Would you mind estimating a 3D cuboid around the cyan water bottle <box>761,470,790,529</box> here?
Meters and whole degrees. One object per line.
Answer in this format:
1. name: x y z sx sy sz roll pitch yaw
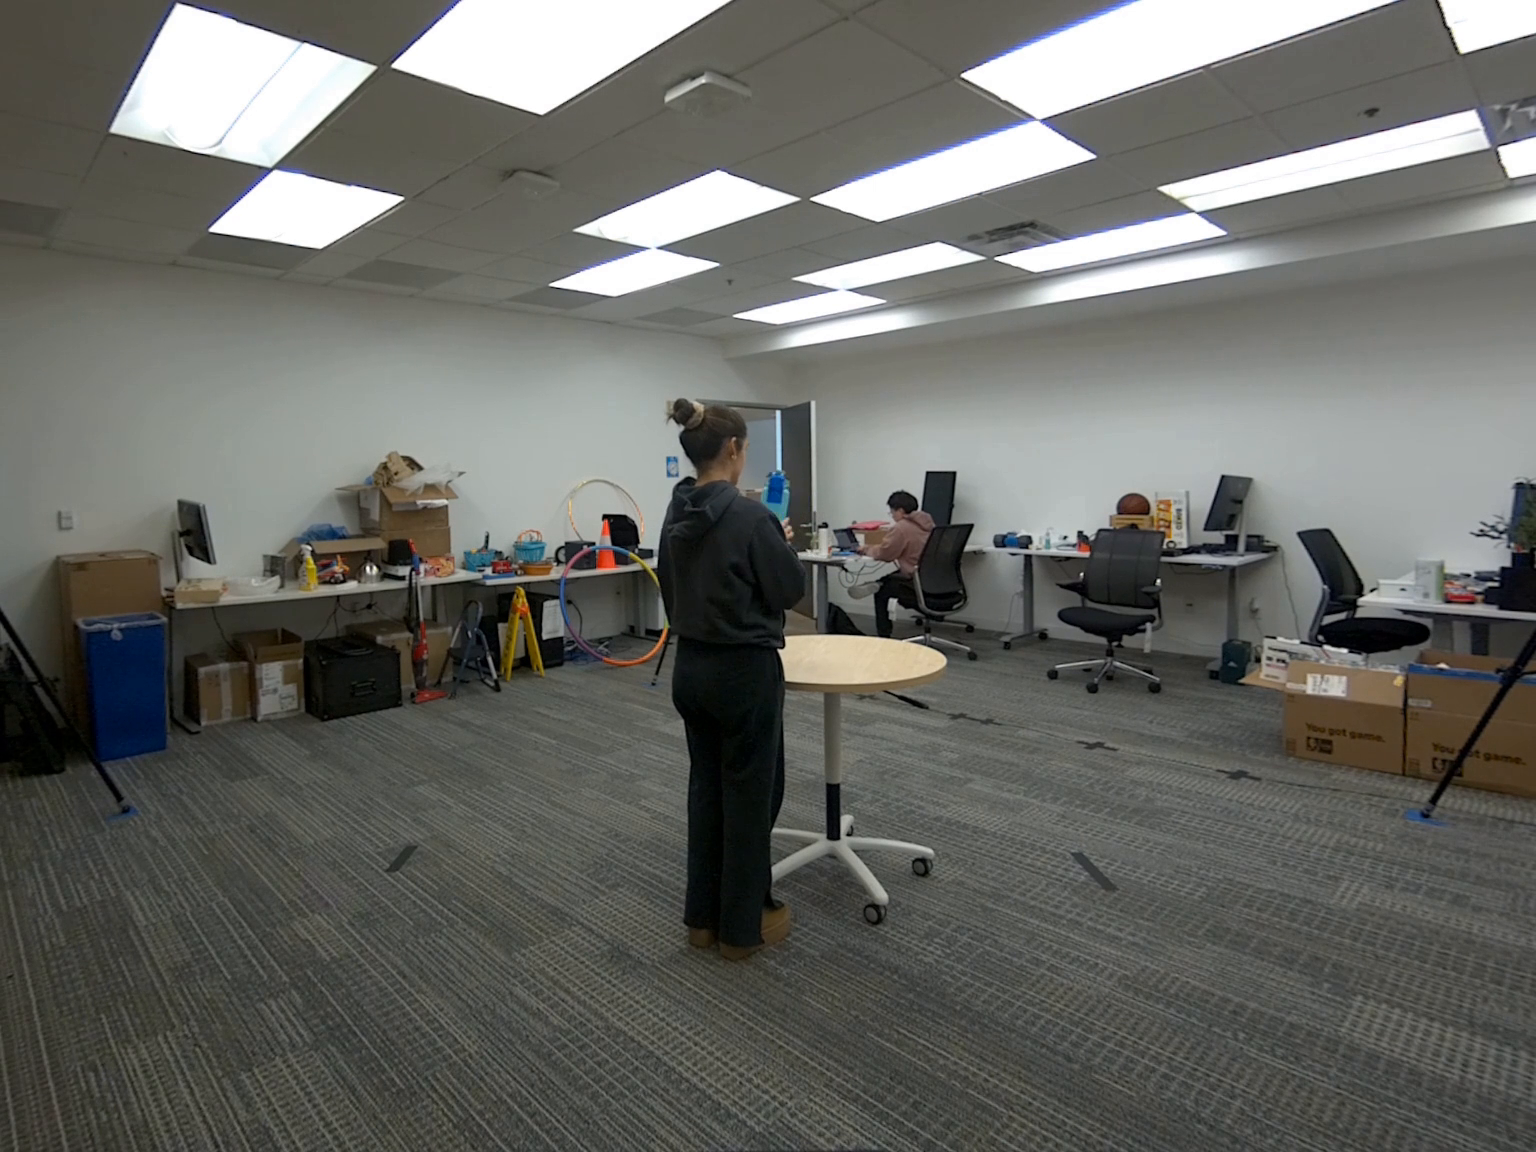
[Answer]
1. cyan water bottle: 0.021 -0.175 2.732 0.092 0.284 0.092 9 -2 -2
